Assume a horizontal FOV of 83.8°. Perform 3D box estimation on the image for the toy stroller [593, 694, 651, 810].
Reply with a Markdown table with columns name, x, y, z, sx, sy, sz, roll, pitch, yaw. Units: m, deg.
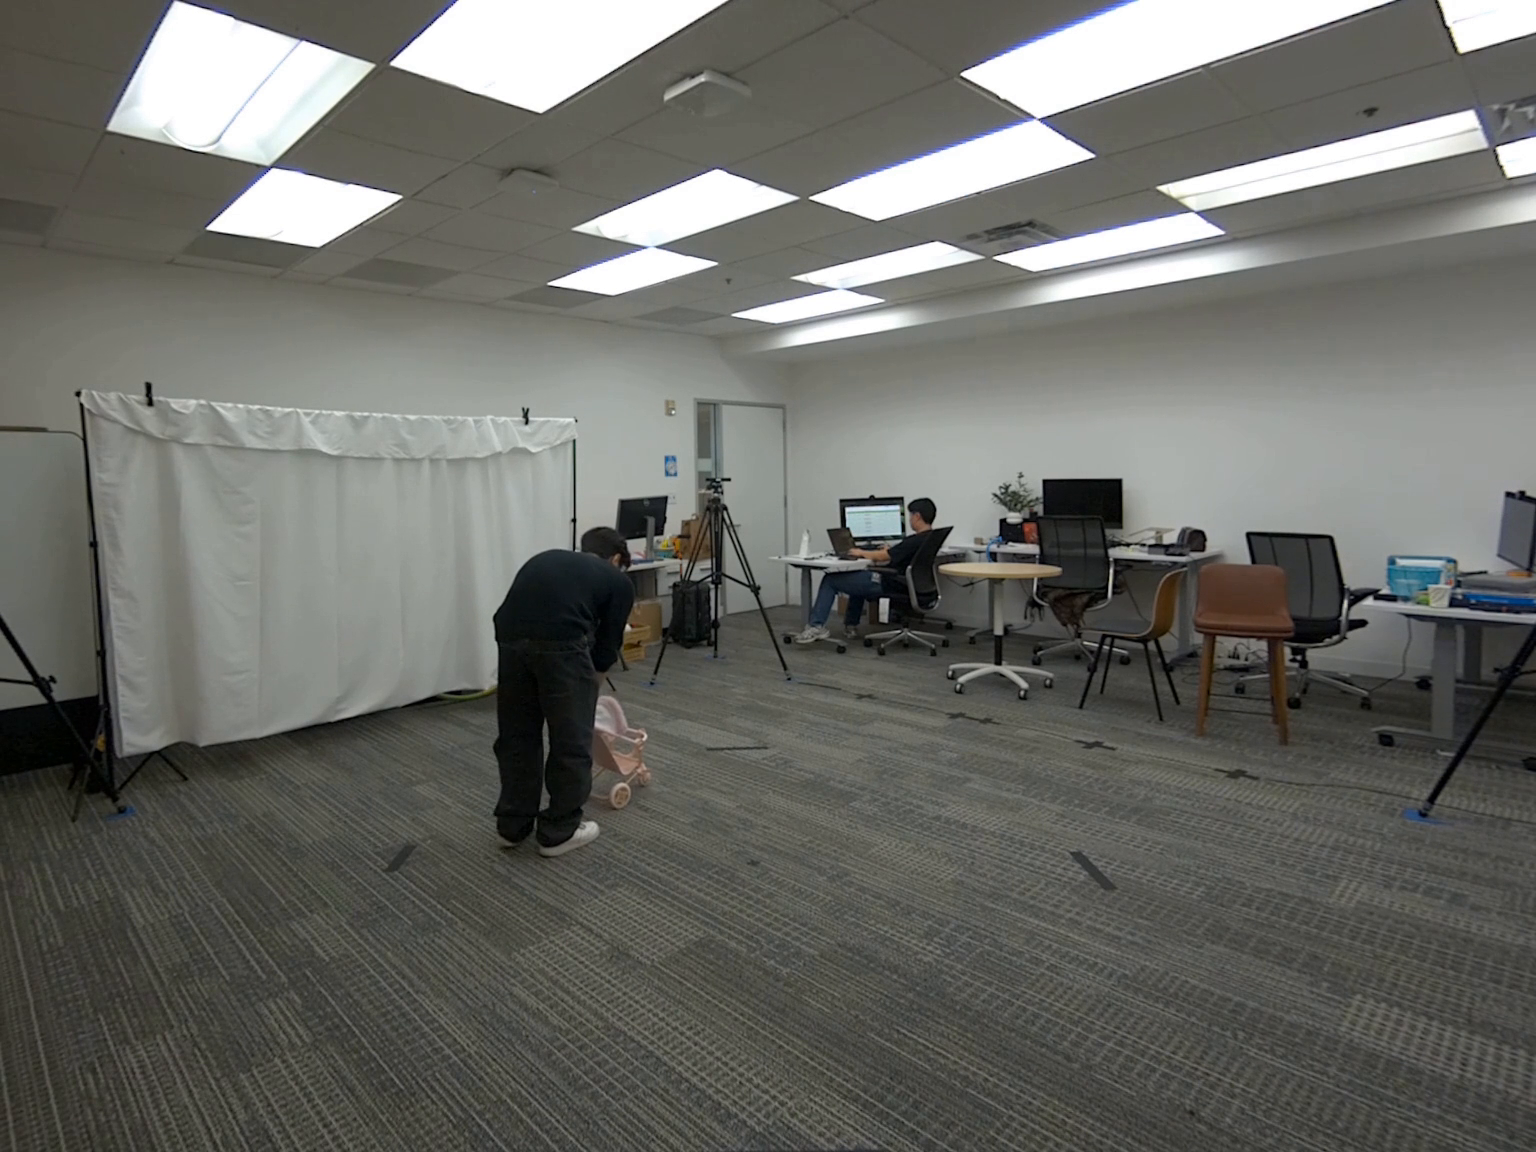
| name | x | y | z | sx | sy | sz | roll | pitch | yaw |
| --- | --- | --- | --- | --- | --- | --- | --- | --- | --- |
| toy stroller | -0.691 | 0.761 | 3.766 | 0.290 | 0.526 | 0.337 | 5 | 24 | 45 |
